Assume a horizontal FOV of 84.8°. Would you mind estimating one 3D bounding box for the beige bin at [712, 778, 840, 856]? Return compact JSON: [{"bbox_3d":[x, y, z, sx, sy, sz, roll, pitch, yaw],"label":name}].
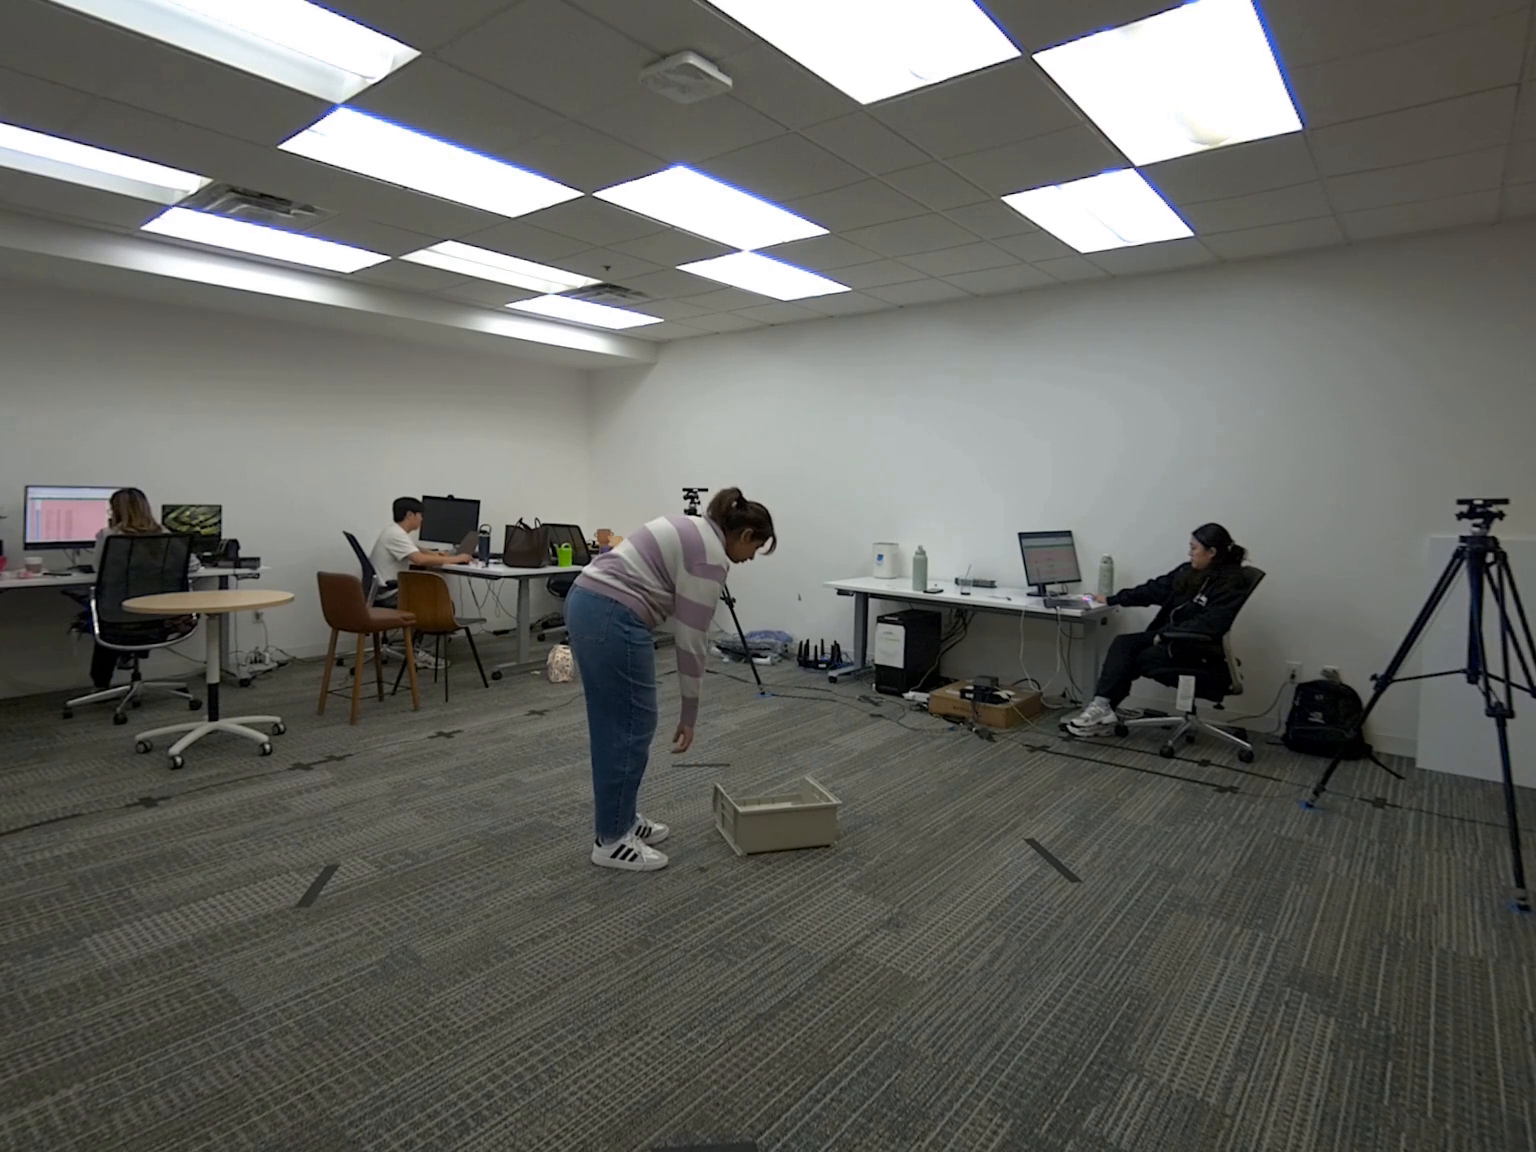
[{"bbox_3d":[0.015,0.951,3.440,0.414,0.188,0.386,0,5,-19],"label":"beige bin"}]
